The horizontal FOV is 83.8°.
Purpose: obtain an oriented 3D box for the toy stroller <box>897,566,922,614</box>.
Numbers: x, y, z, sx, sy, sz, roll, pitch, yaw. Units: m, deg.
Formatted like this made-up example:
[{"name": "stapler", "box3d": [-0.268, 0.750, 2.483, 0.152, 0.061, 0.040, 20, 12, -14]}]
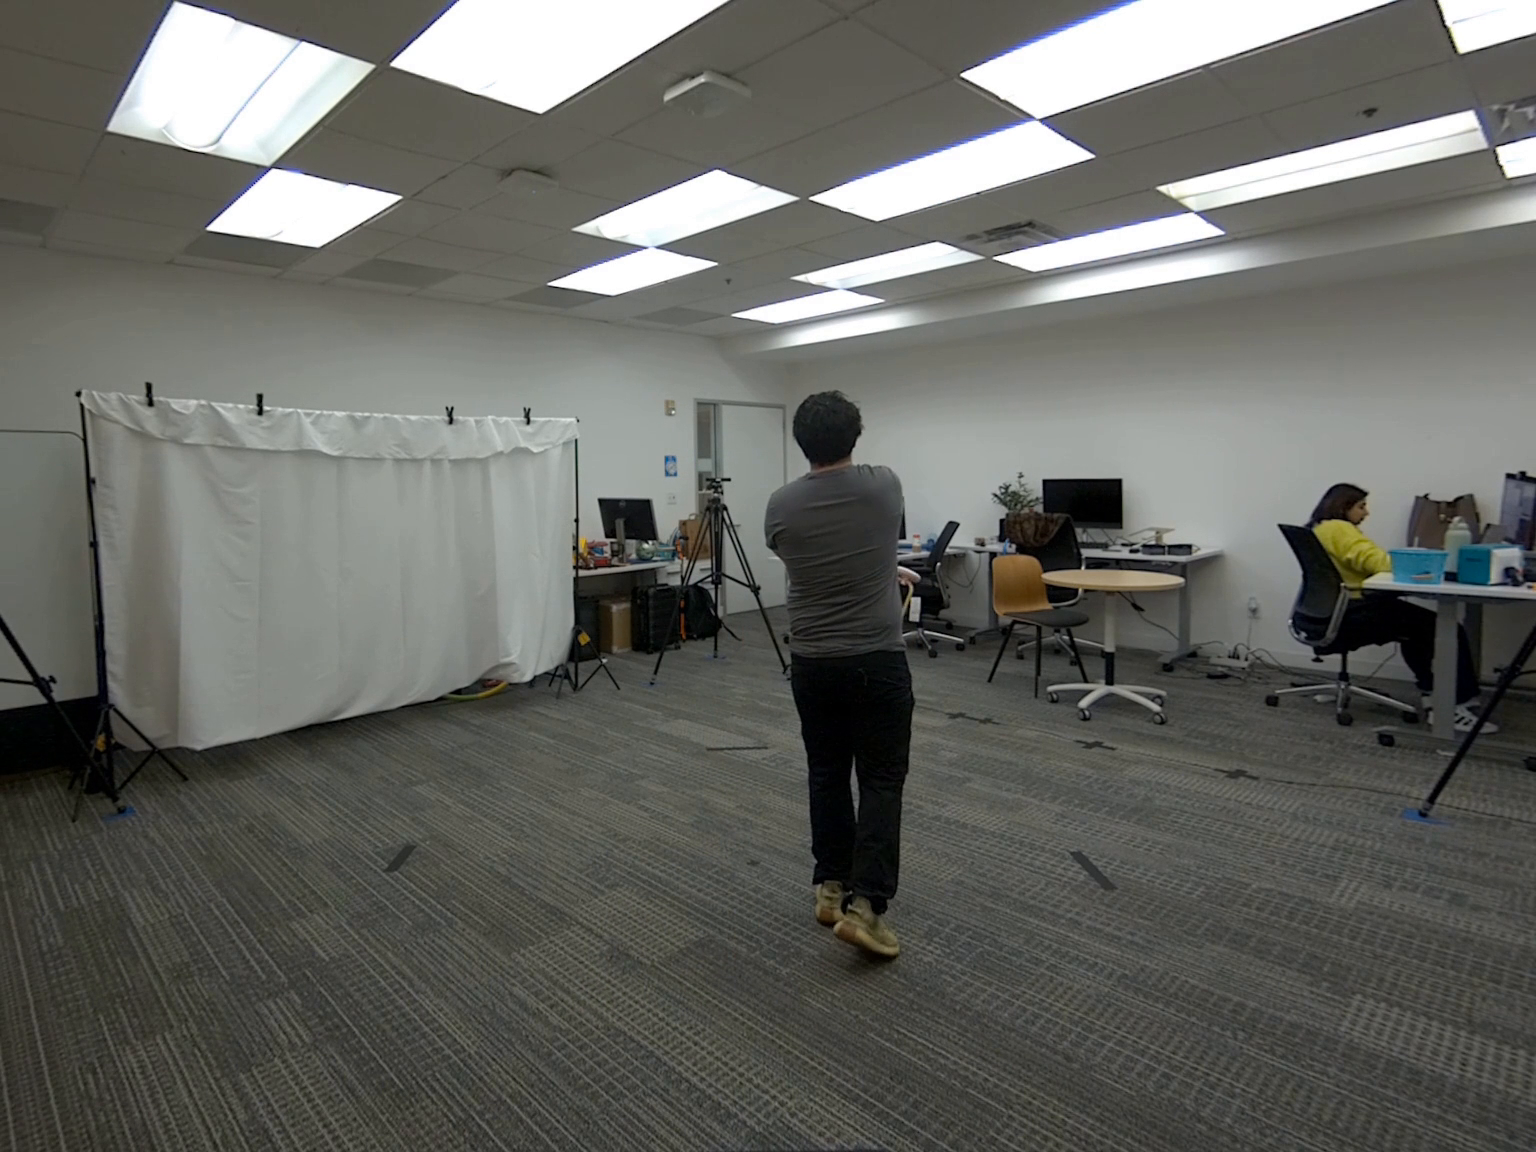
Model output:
[{"name": "toy stroller", "box3d": [0.344, 0.031, 3.432, 0.515, 0.282, 0.353, 29, -5, -39]}]
